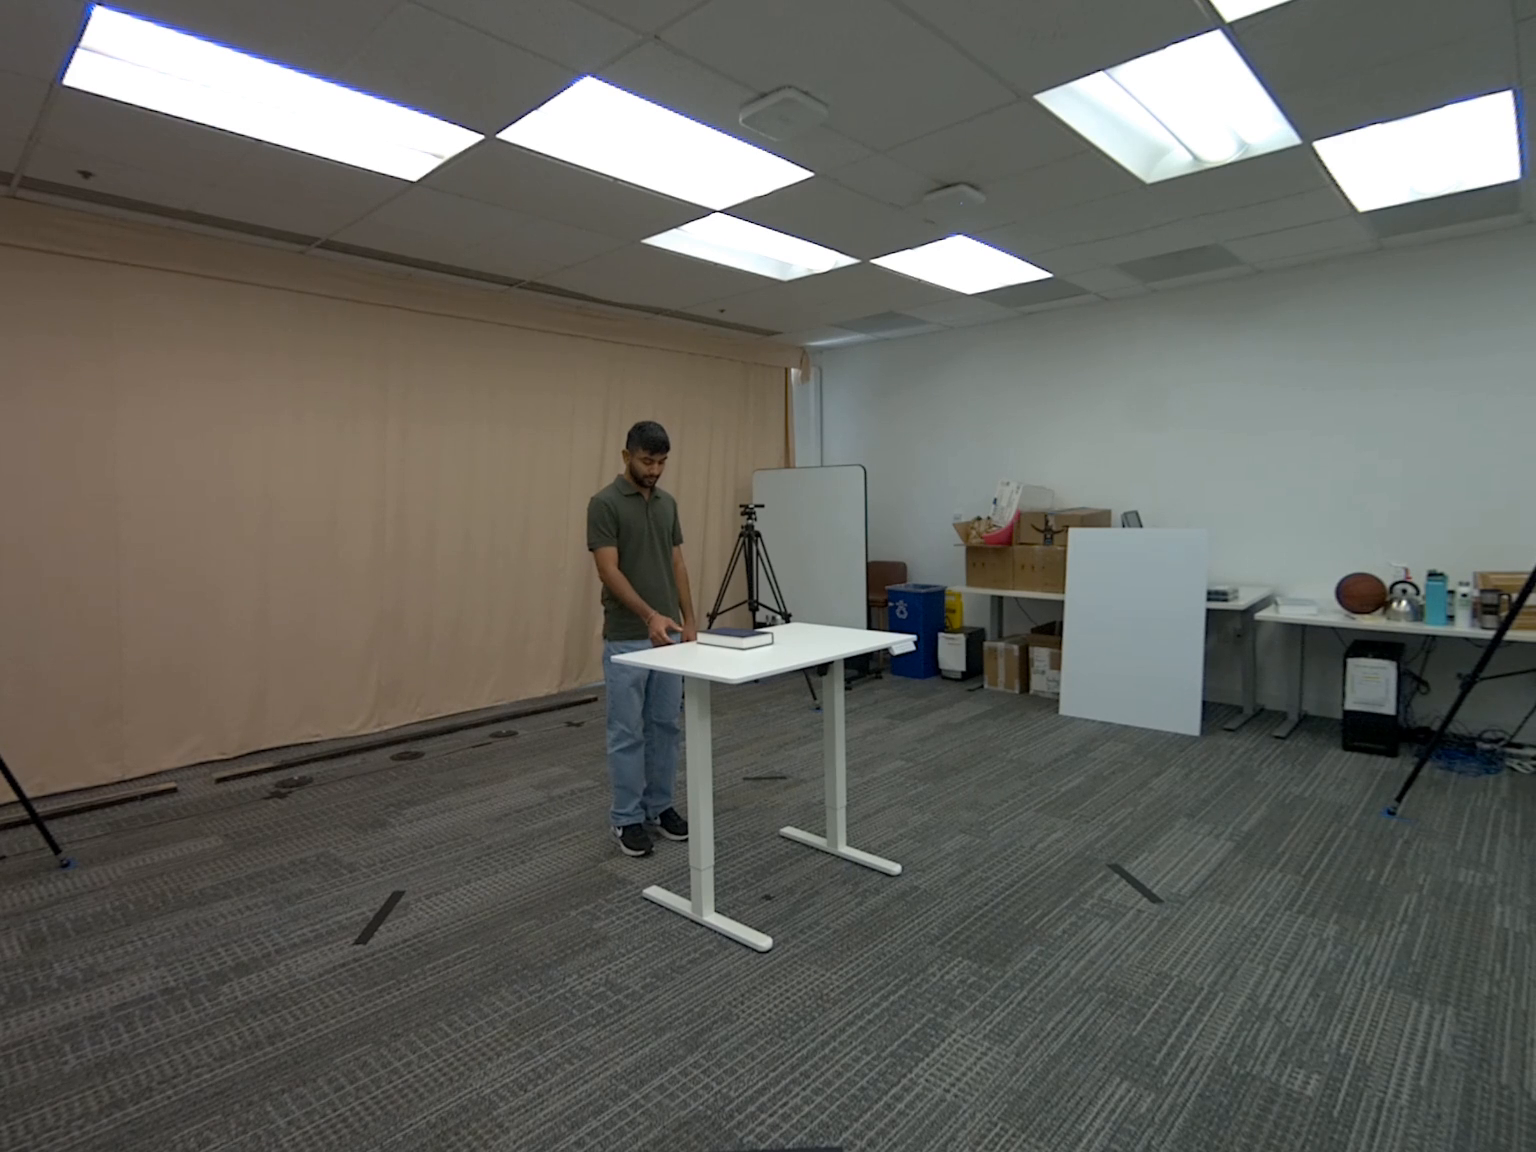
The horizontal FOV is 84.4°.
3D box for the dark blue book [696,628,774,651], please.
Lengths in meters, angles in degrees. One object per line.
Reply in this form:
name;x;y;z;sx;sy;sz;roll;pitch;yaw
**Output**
dark blue book;-0.119;0.230;3.111;0.253;0.045;0.158;3;6;43
